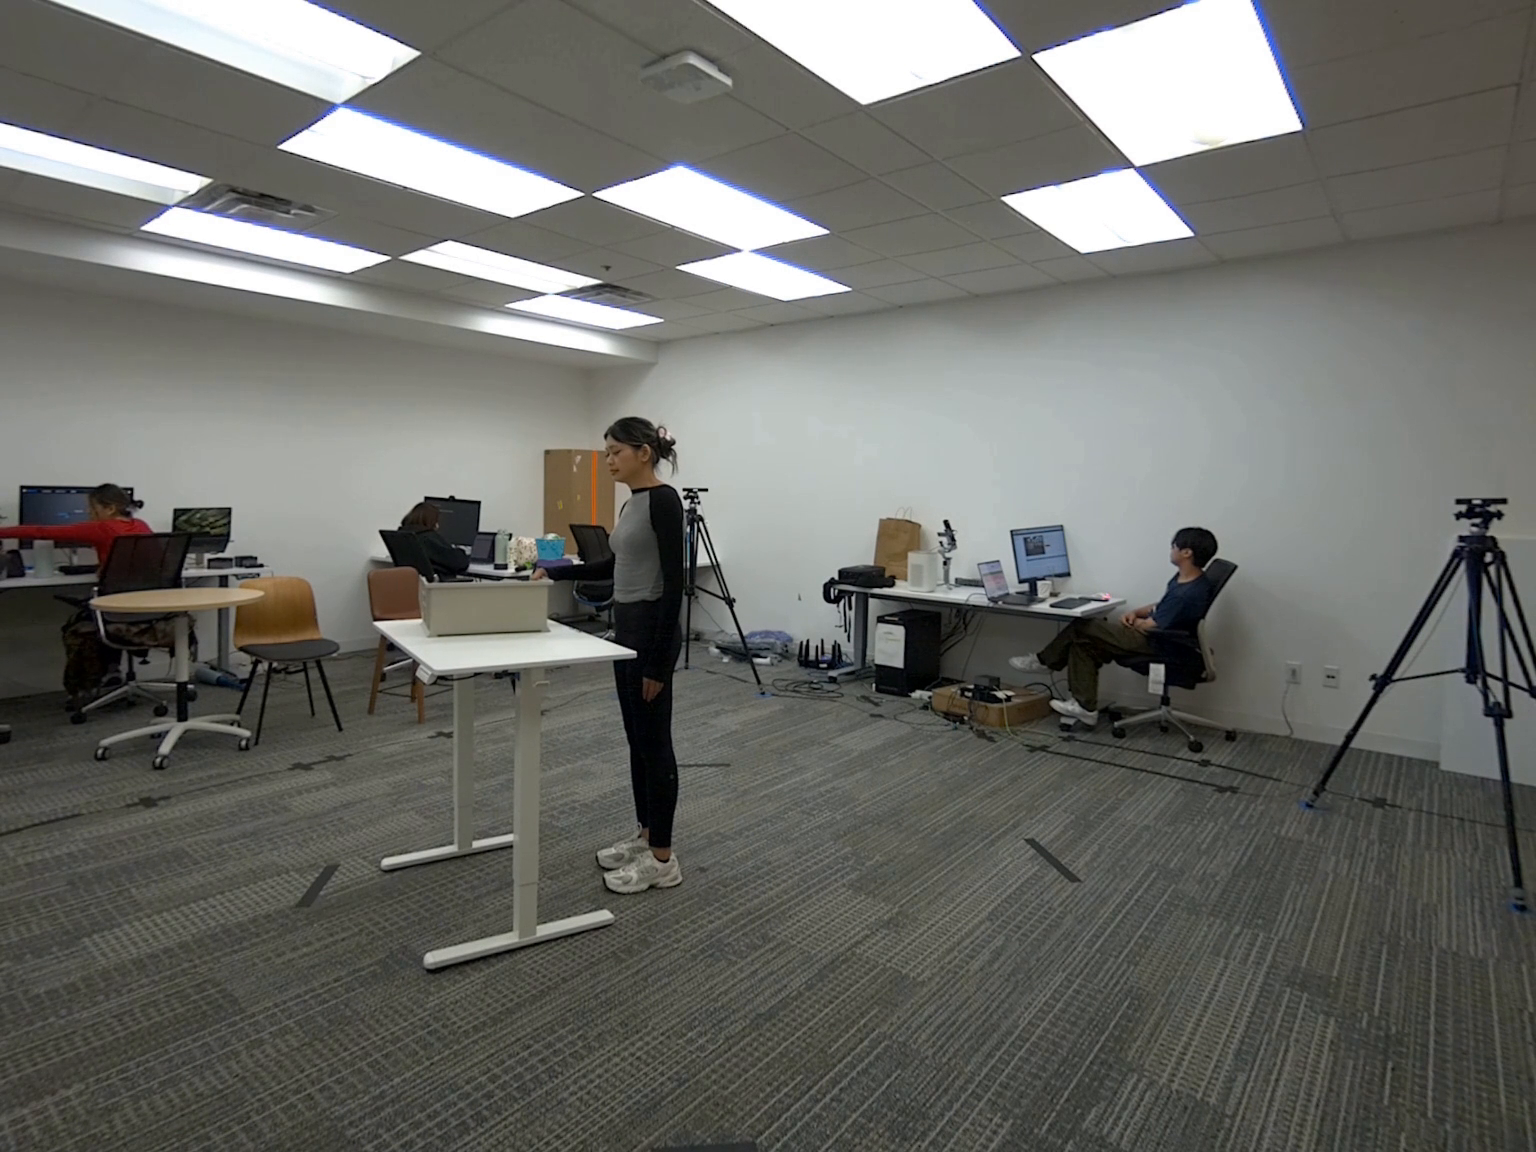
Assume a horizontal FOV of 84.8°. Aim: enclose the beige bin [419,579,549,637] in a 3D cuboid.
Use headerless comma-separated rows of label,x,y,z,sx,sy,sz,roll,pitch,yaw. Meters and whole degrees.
beige bin,-1.027,0.095,3.048,0.413,0.188,0.388,-1,7,-23
